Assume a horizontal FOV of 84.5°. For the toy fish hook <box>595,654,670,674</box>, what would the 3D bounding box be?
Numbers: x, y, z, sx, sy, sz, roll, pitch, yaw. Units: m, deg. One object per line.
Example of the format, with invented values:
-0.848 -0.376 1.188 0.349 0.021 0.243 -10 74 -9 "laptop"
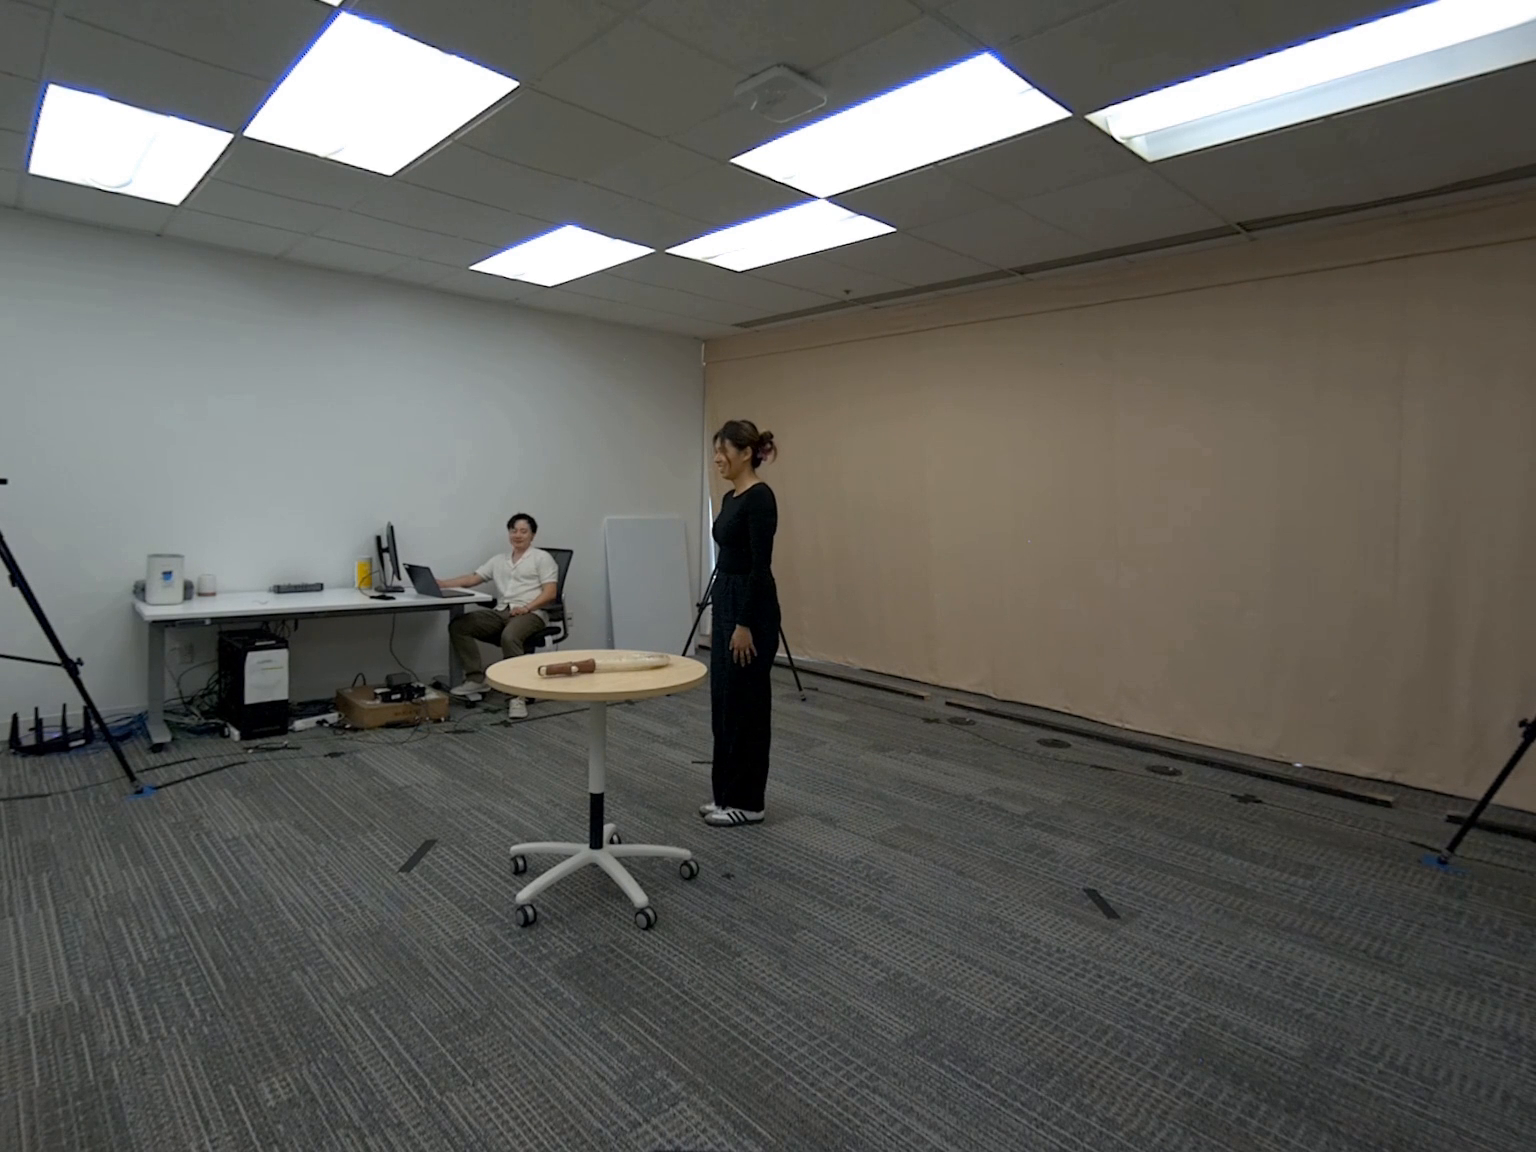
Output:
-0.600 0.313 2.961 0.495 0.048 0.229 -1 -1 -36 "toy fish hook"
